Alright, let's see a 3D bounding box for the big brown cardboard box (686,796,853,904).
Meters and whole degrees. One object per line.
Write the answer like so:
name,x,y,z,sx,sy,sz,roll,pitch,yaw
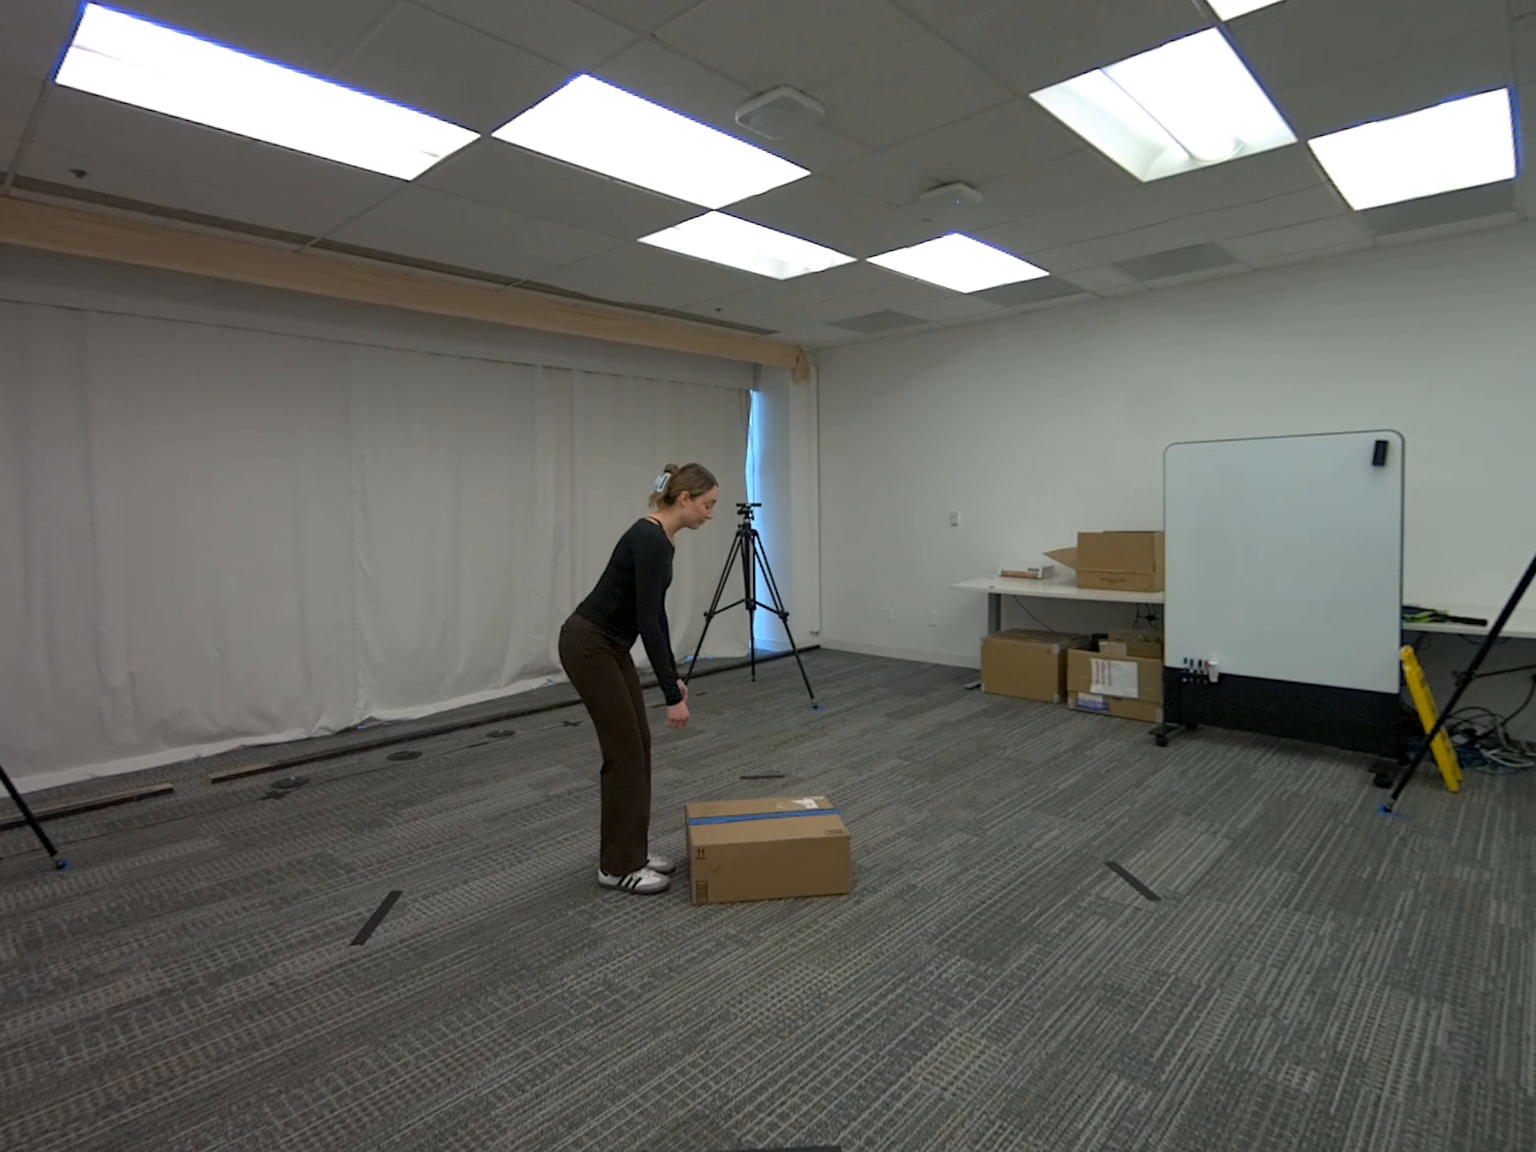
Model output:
big brown cardboard box,-0.008,1.008,3.147,0.585,0.232,0.422,-3,5,-7
